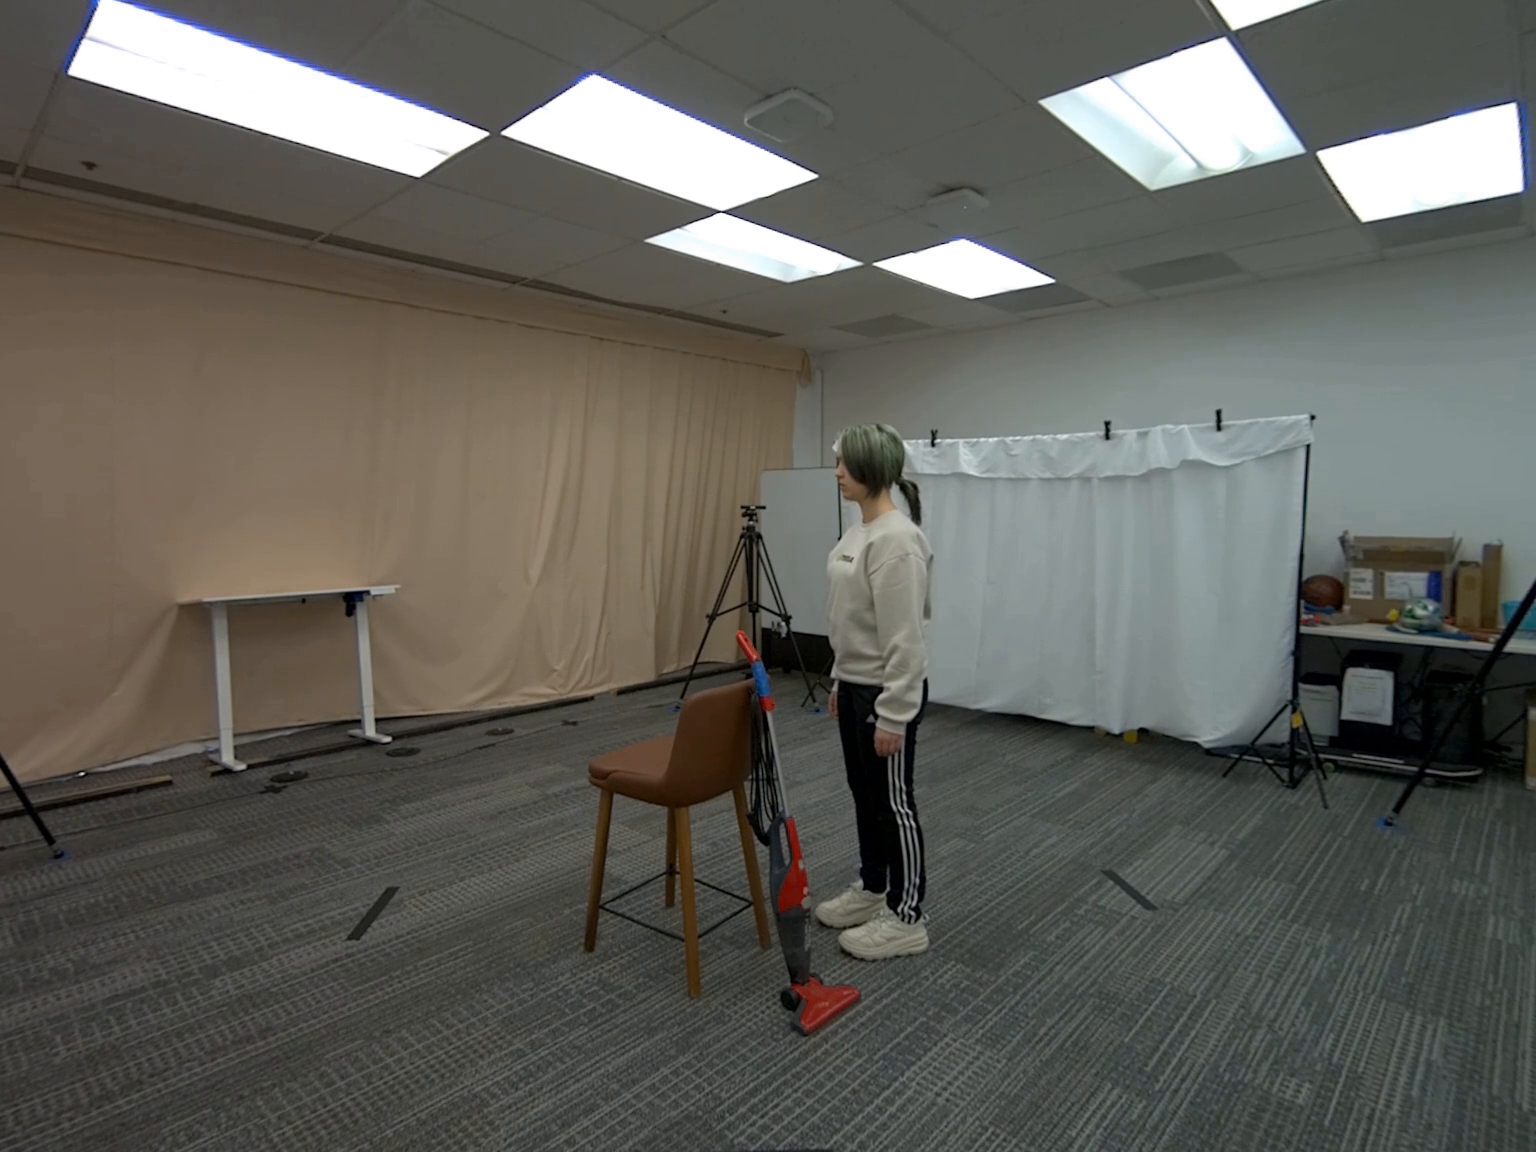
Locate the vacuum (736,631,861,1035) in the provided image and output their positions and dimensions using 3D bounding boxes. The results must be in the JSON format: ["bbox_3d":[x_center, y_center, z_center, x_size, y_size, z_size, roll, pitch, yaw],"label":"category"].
[{"bbox_3d":[0.034,0.699,2.396,0.147,1.054,0.245,-18,-8,42],"label":"vacuum"}]
